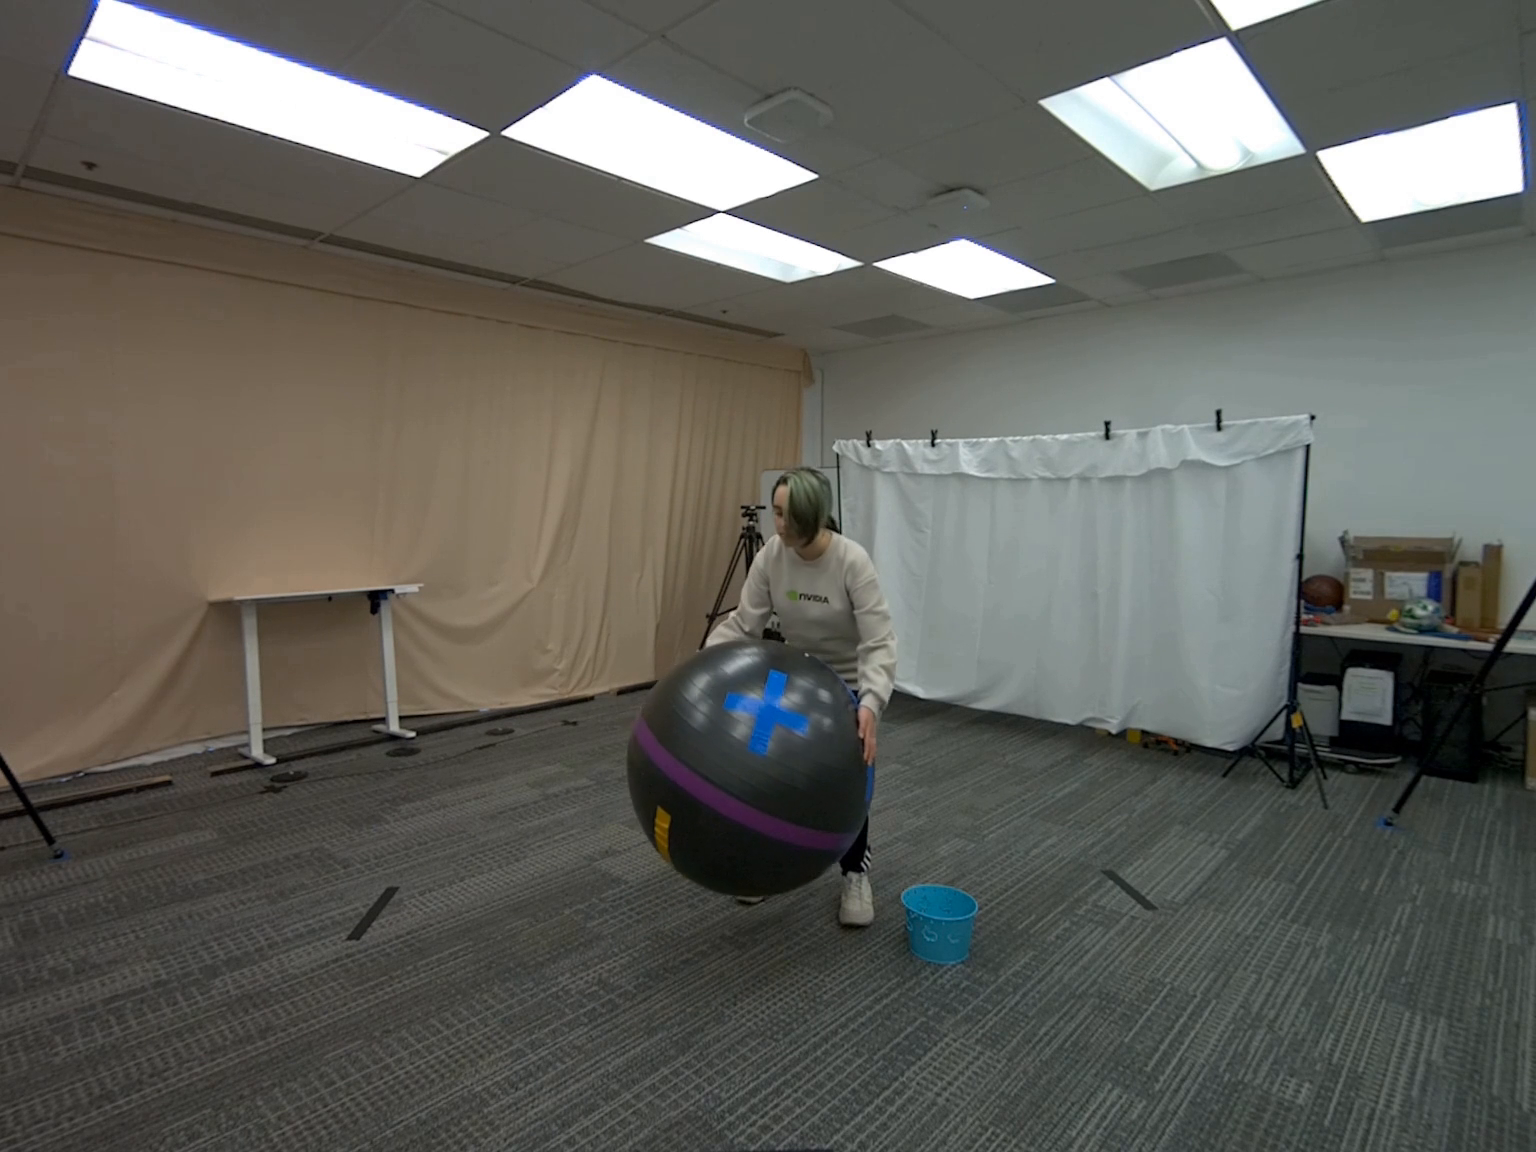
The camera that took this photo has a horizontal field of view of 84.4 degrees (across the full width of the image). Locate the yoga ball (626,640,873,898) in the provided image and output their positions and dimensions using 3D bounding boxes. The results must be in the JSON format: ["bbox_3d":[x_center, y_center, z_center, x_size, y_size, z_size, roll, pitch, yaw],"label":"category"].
[{"bbox_3d":[-0.053,0.577,2.583,0.757,0.756,0.760,0,4,-2],"label":"yoga ball"}]
